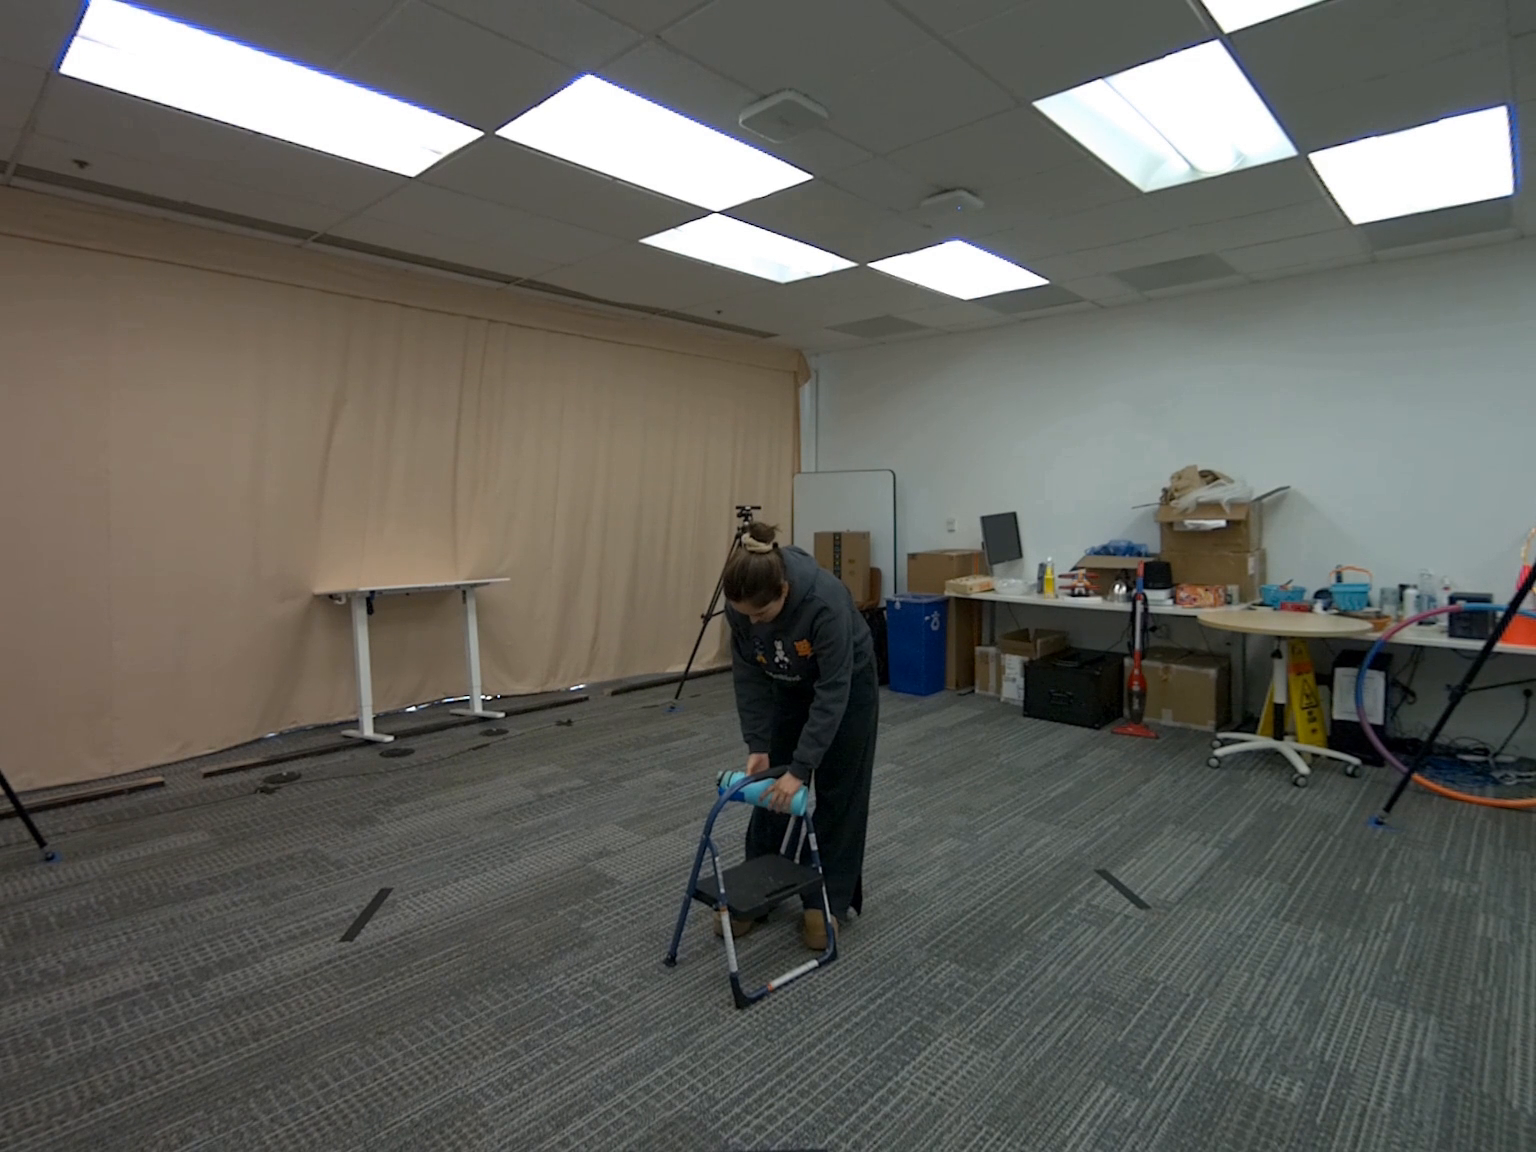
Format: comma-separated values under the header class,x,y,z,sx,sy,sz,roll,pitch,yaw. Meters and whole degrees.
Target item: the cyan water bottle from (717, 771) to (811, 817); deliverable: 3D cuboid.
class,x,y,z,sx,sy,sz,roll,pitch,yaw
cyan water bottle,0.001,0.662,2.548,0.289,0.092,0.091,7,6,18
